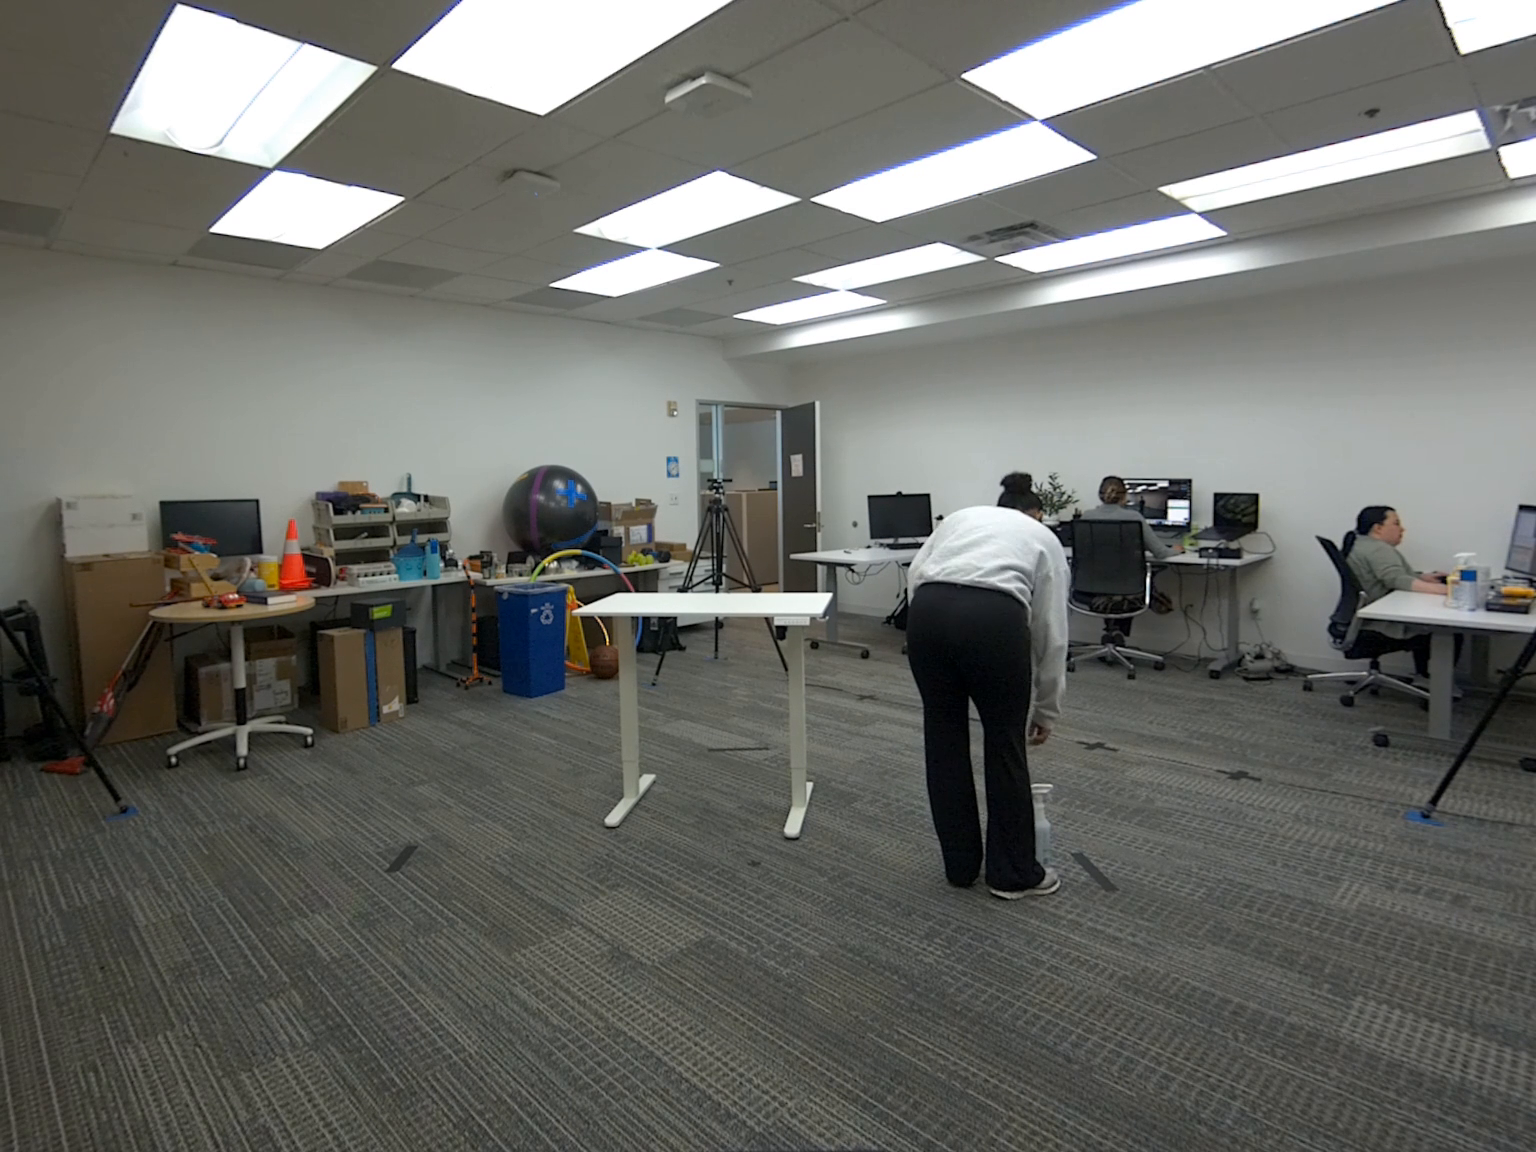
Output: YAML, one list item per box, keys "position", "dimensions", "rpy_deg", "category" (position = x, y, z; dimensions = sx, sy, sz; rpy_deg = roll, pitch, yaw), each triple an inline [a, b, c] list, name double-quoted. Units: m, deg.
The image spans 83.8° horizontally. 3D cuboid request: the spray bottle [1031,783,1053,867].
- position: [0.965, 0.892, 3.042]
  dimensions: [0.092, 0.296, 0.085]
  rpy_deg: [2, 5, 33]
  category: "spray bottle"
